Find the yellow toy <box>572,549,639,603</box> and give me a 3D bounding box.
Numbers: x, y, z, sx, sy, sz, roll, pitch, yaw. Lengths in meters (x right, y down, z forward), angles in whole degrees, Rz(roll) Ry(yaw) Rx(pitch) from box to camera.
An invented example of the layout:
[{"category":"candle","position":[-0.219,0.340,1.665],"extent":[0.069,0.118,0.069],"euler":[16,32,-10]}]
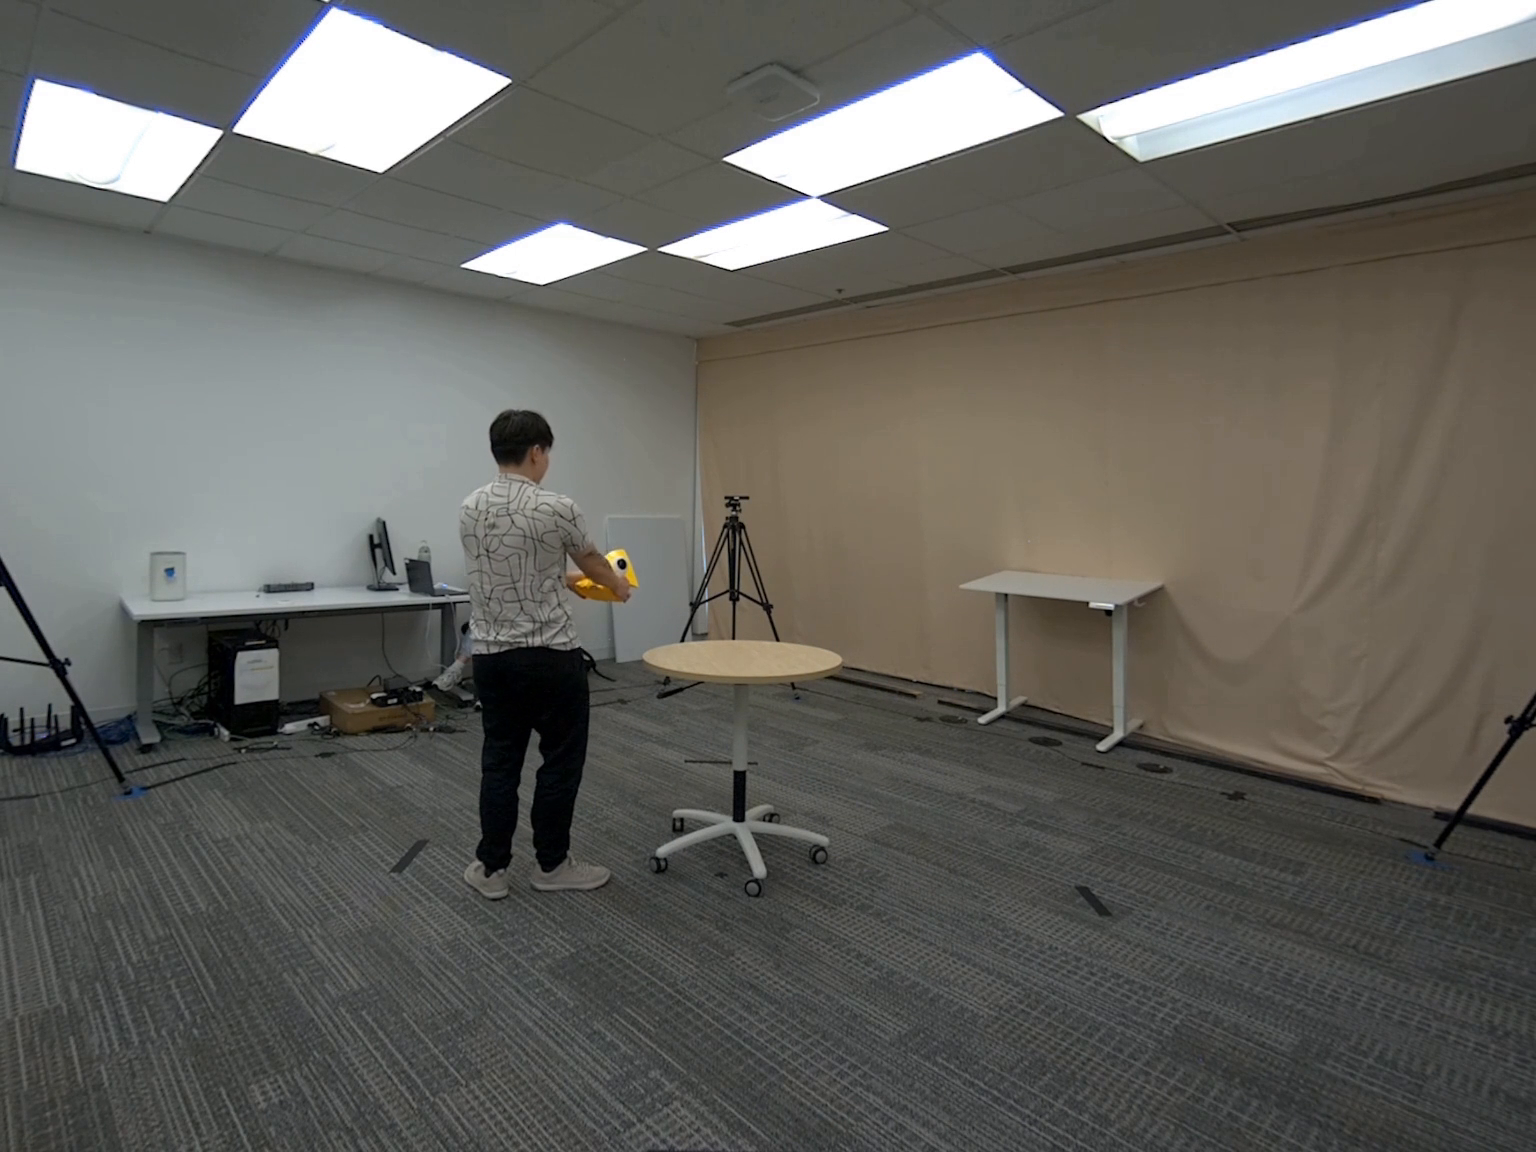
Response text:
[{"category":"yellow toy","position":[-0.653,-0.031,3.394],"extent":[0.208,0.233,0.187],"euler":[3,-25,24]}]
